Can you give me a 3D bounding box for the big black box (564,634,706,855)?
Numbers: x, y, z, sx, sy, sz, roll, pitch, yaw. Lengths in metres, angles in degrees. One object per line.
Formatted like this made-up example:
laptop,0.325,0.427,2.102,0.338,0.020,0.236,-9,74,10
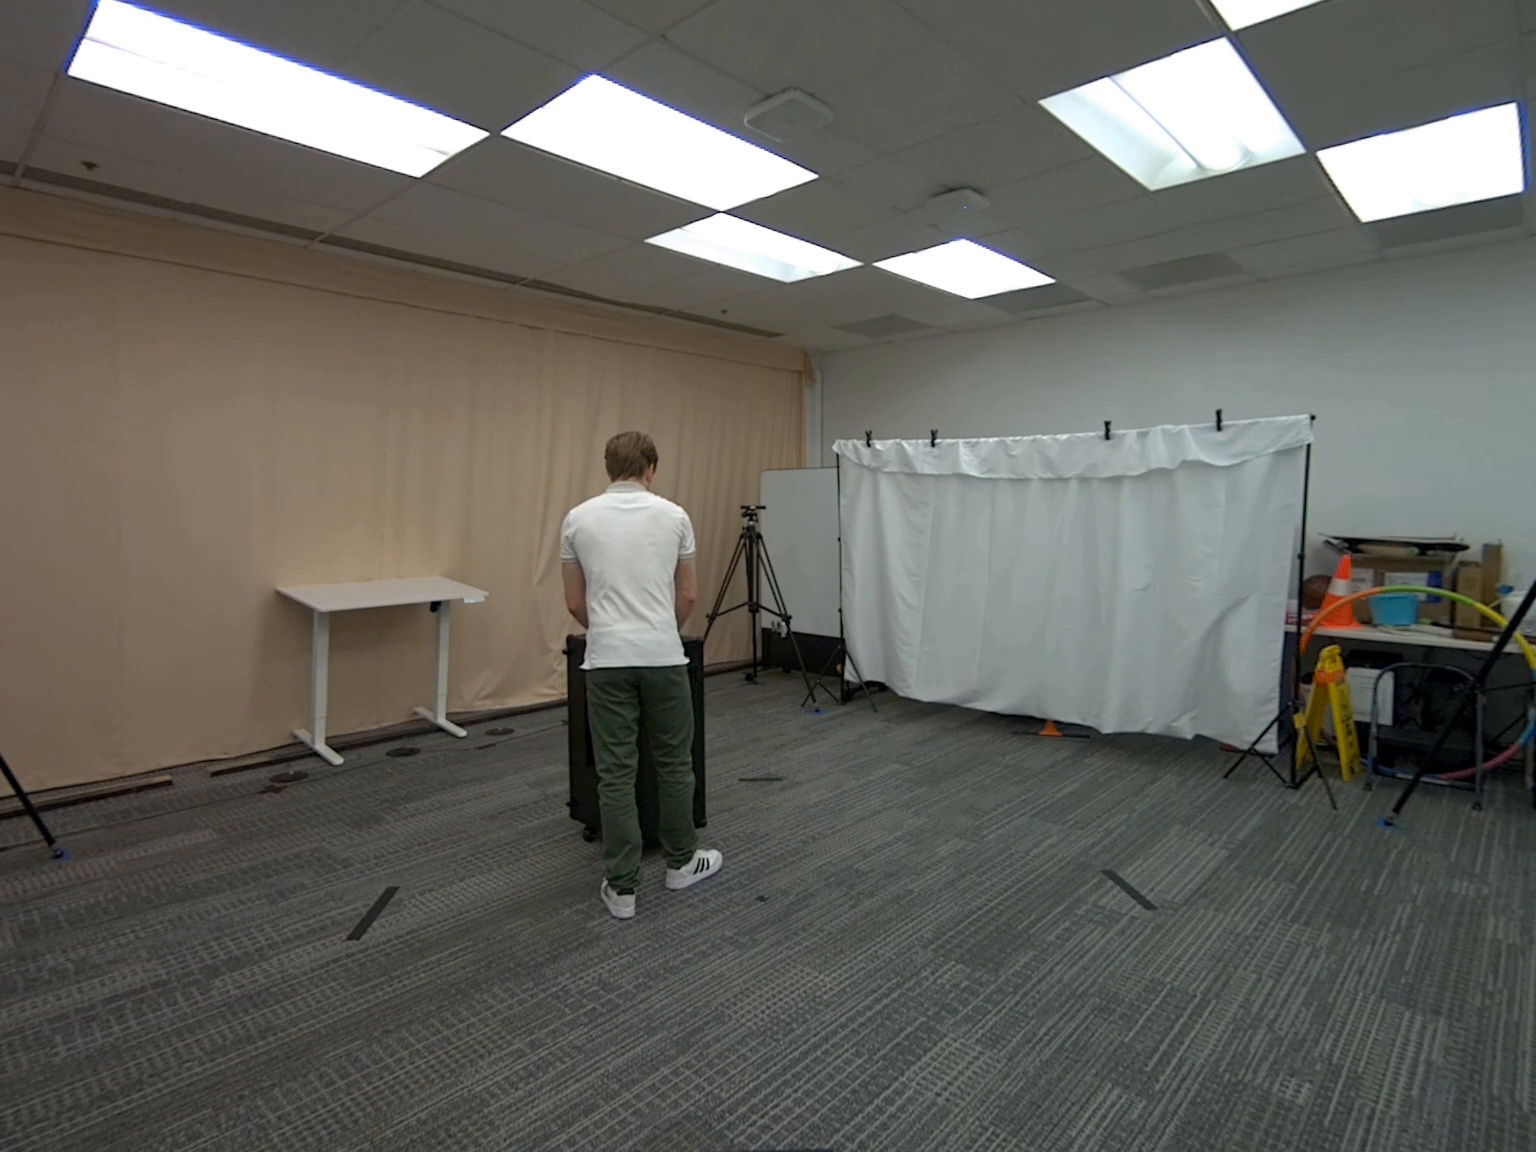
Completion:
big black box,-0.552,0.682,3.514,0.541,0.867,0.373,2,4,44
